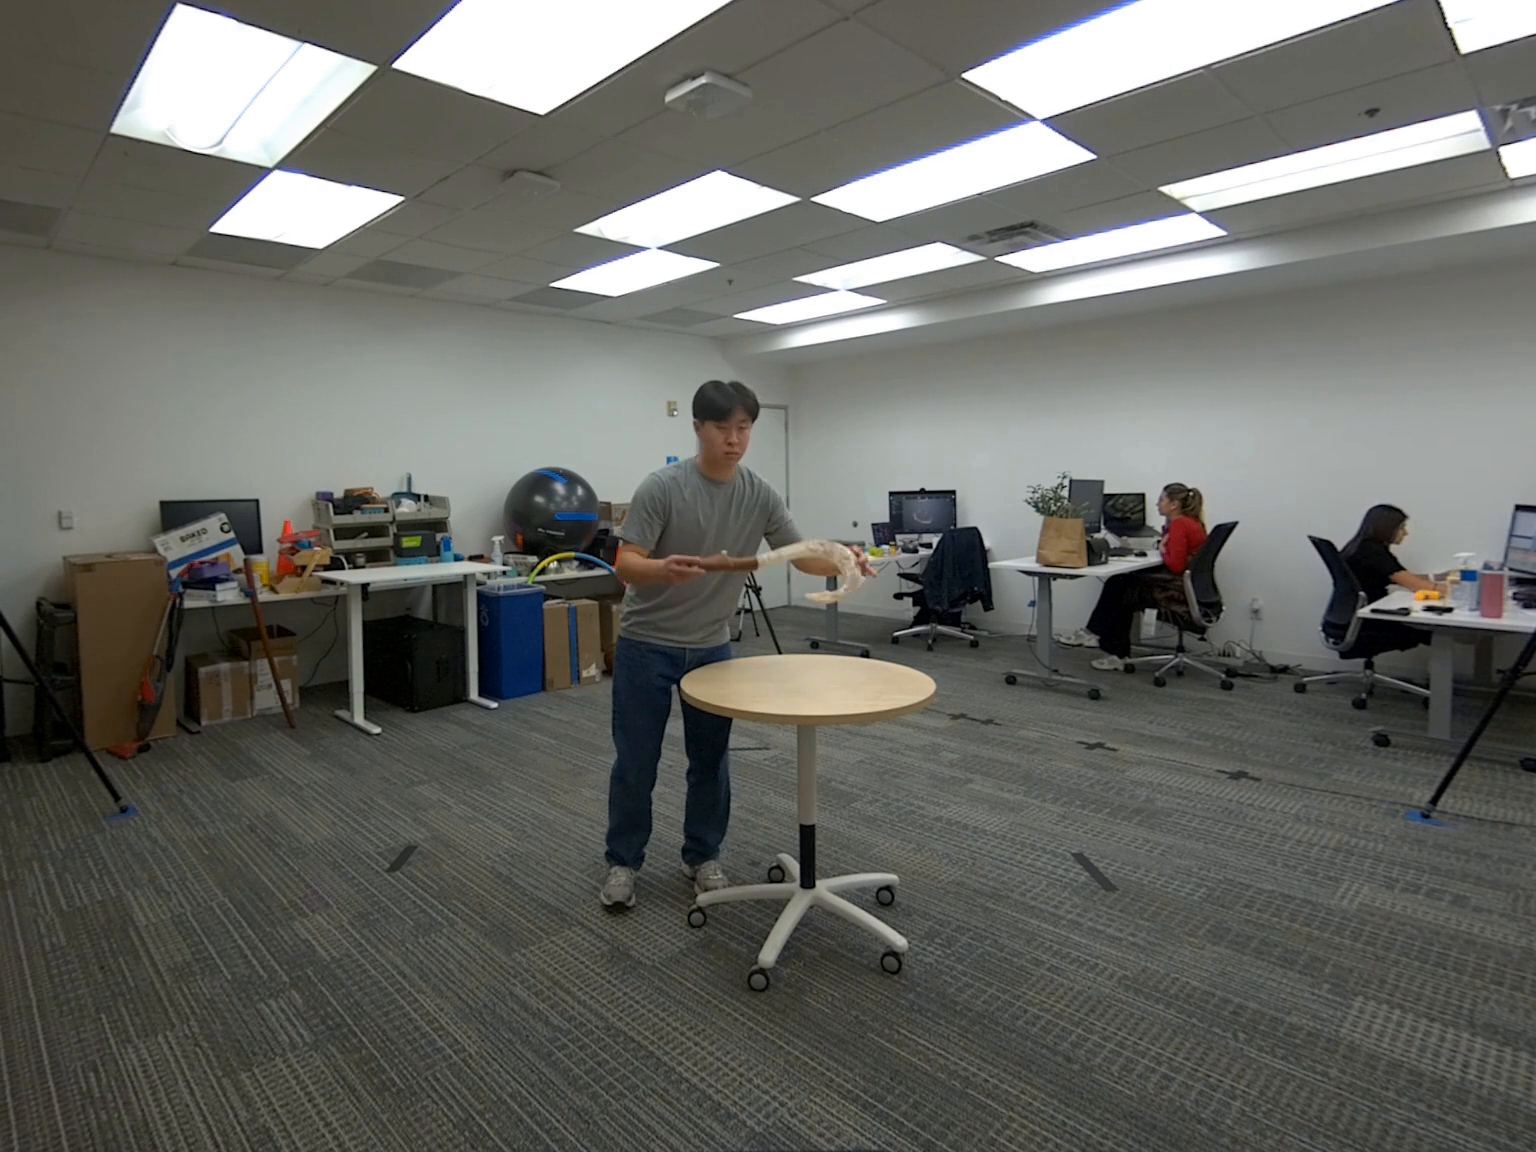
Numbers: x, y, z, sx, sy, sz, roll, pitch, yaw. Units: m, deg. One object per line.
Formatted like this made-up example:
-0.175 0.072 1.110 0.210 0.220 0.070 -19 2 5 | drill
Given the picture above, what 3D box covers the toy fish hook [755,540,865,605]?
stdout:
0.005 -0.004 2.409 0.499 0.047 0.232 -3 46 -16 | toy fish hook
